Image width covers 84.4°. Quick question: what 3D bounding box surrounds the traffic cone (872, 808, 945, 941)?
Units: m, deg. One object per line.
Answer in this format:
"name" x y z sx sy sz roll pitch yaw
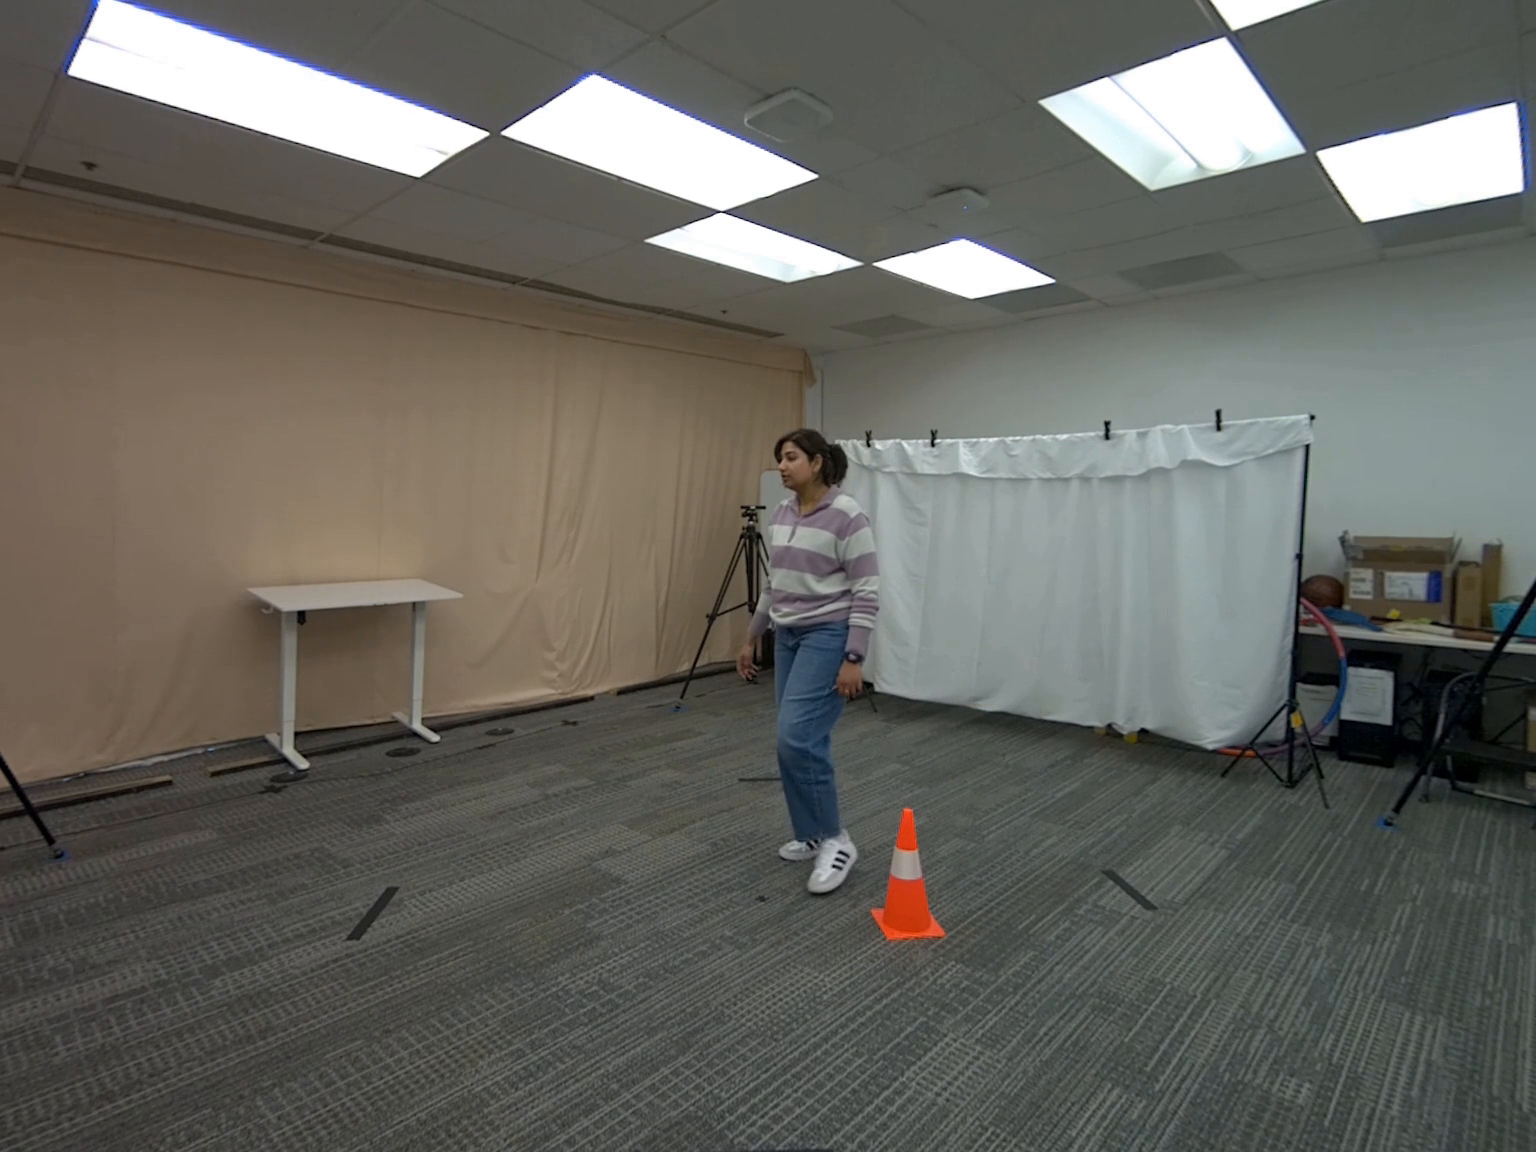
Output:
"traffic cone" 0.465 0.971 2.794 0.202 0.383 0.207 -2 4 -9
